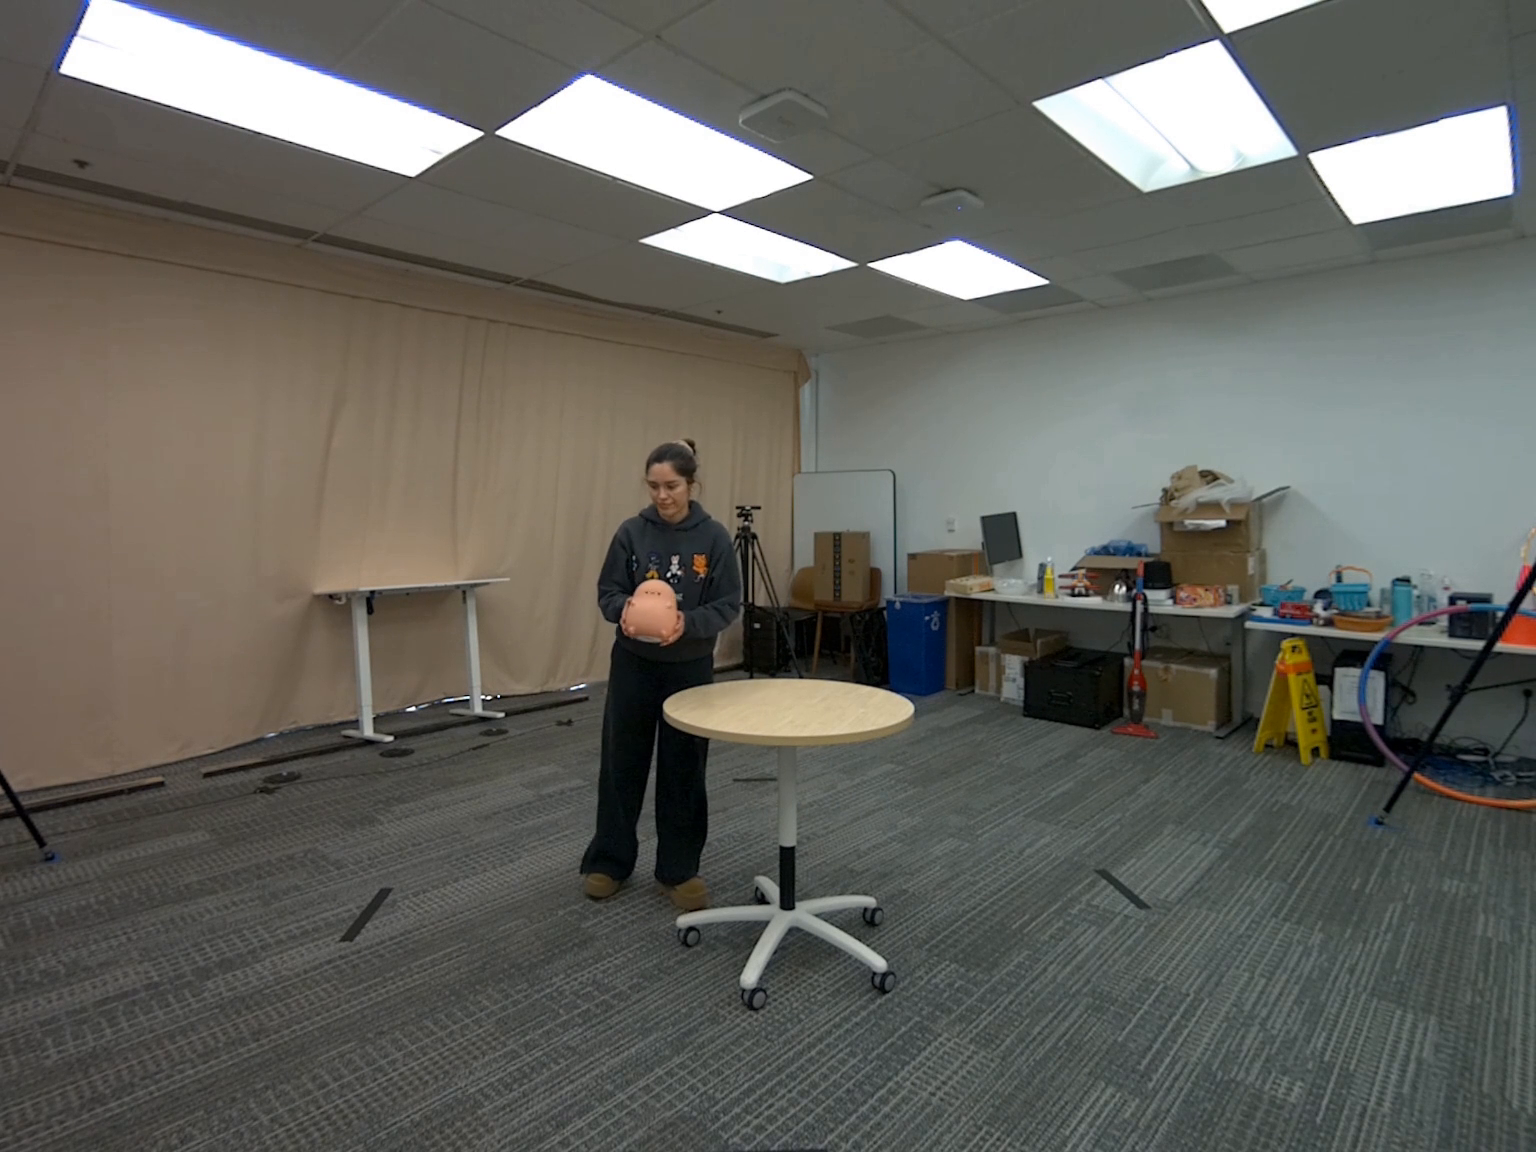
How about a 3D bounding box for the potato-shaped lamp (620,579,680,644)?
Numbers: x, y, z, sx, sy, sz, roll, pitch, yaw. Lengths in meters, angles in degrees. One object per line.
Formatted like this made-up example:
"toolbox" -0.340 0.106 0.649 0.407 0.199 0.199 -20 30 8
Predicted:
"potato-shaped lamp" -0.360 0.112 2.694 0.166 0.200 0.169 2 -16 5
